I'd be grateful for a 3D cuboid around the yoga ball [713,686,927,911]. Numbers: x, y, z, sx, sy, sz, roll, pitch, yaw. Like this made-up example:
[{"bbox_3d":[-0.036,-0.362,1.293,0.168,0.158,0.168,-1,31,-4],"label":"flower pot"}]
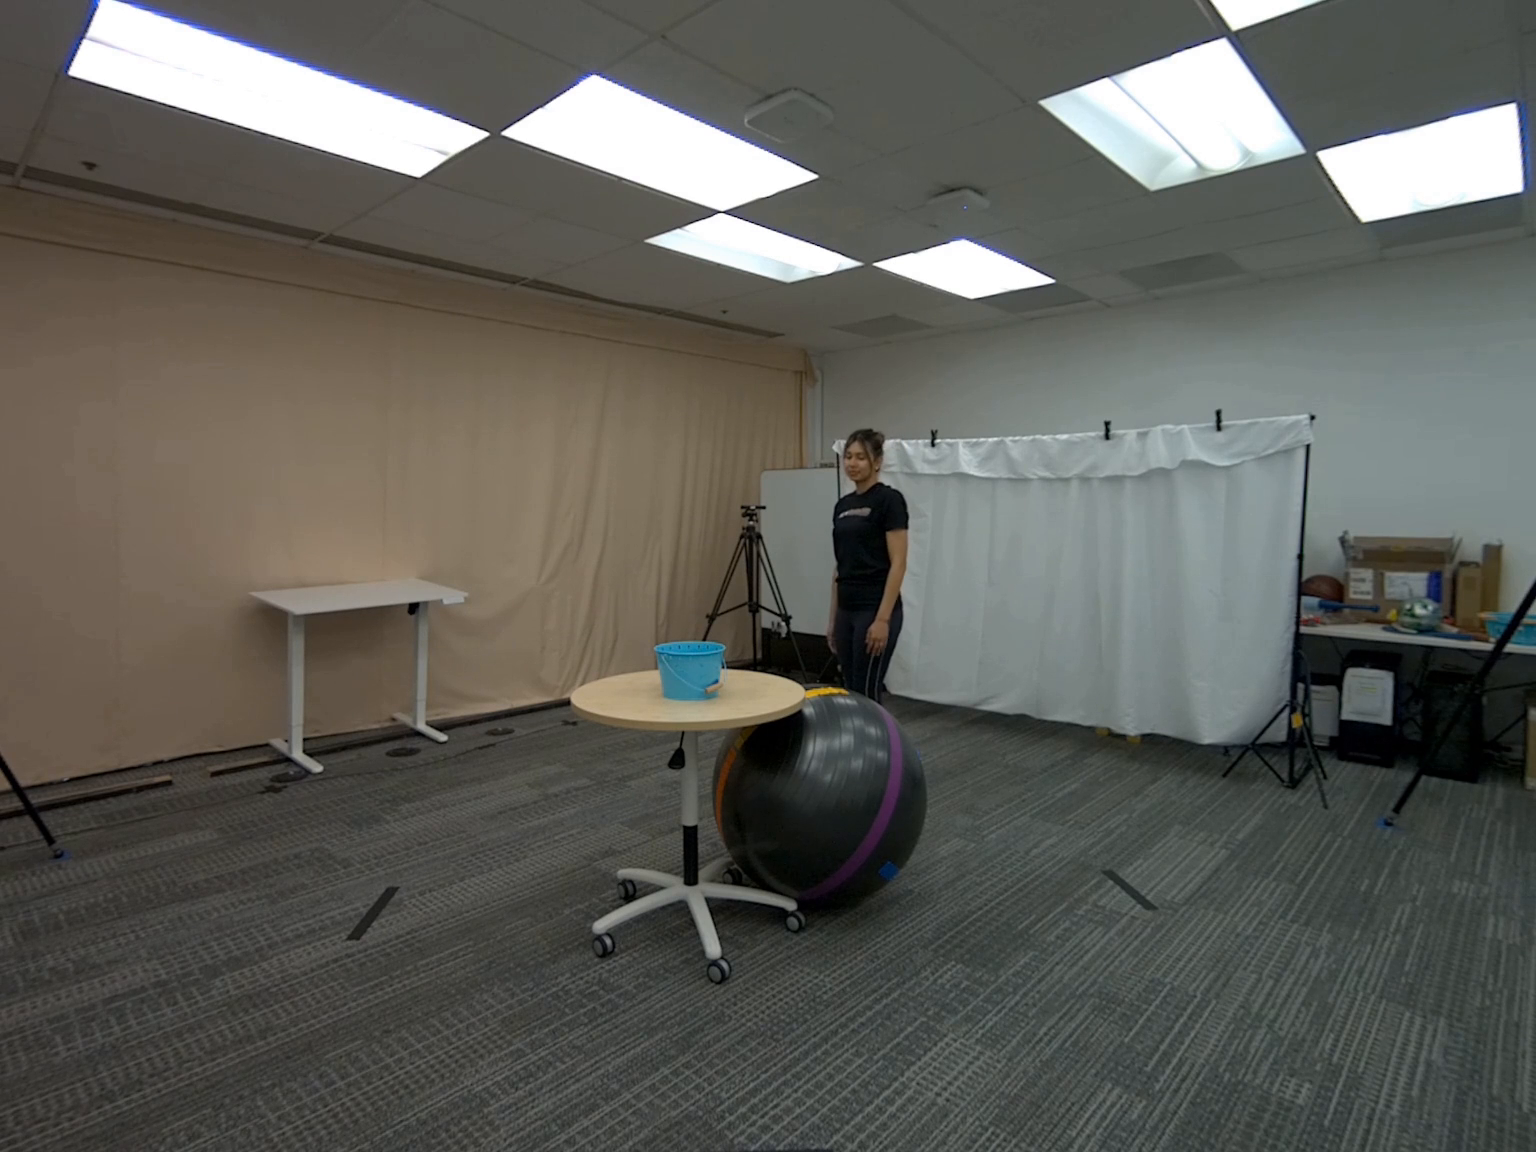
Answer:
[{"bbox_3d":[0.180,0.773,3.000,0.757,0.756,0.761,0,4,-2],"label":"yoga ball"}]
